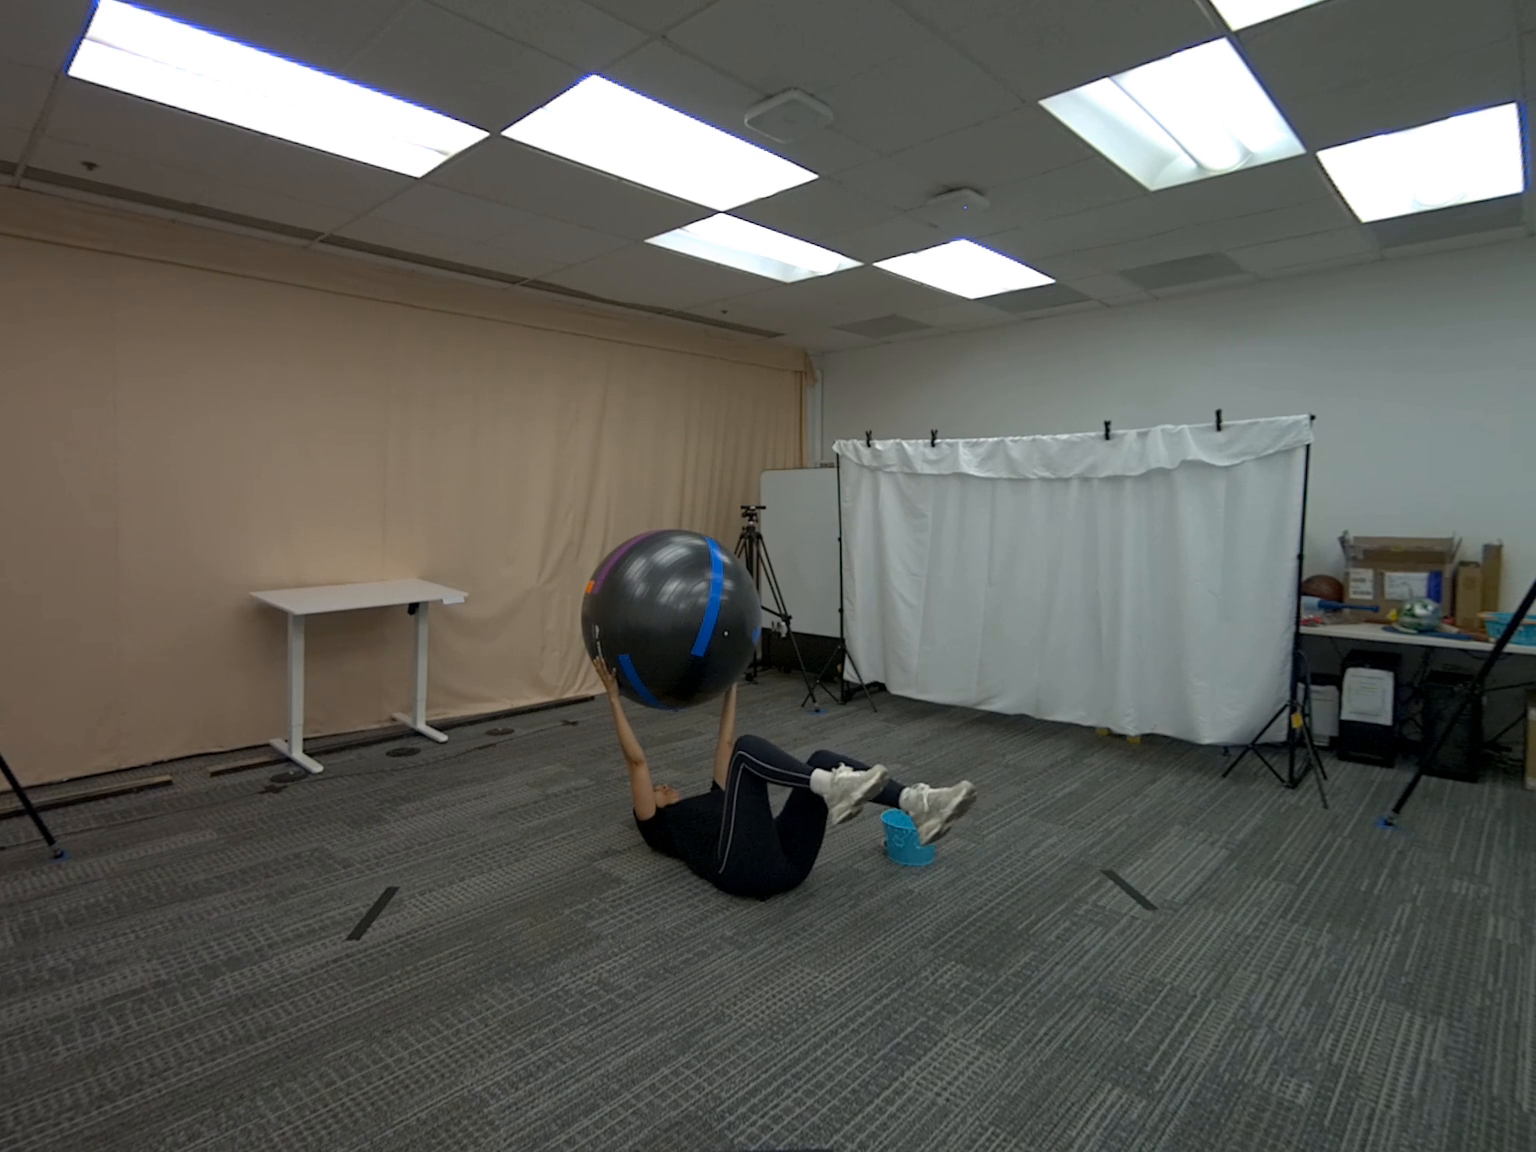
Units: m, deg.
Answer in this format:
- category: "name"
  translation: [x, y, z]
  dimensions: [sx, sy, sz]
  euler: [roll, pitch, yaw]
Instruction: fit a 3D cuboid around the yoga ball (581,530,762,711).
- category: "yoga ball"
  translation: [-0.406, 0.183, 3.551]
  dimensions: [0.757, 0.756, 0.761]
  euler: [3, 5, -2]
